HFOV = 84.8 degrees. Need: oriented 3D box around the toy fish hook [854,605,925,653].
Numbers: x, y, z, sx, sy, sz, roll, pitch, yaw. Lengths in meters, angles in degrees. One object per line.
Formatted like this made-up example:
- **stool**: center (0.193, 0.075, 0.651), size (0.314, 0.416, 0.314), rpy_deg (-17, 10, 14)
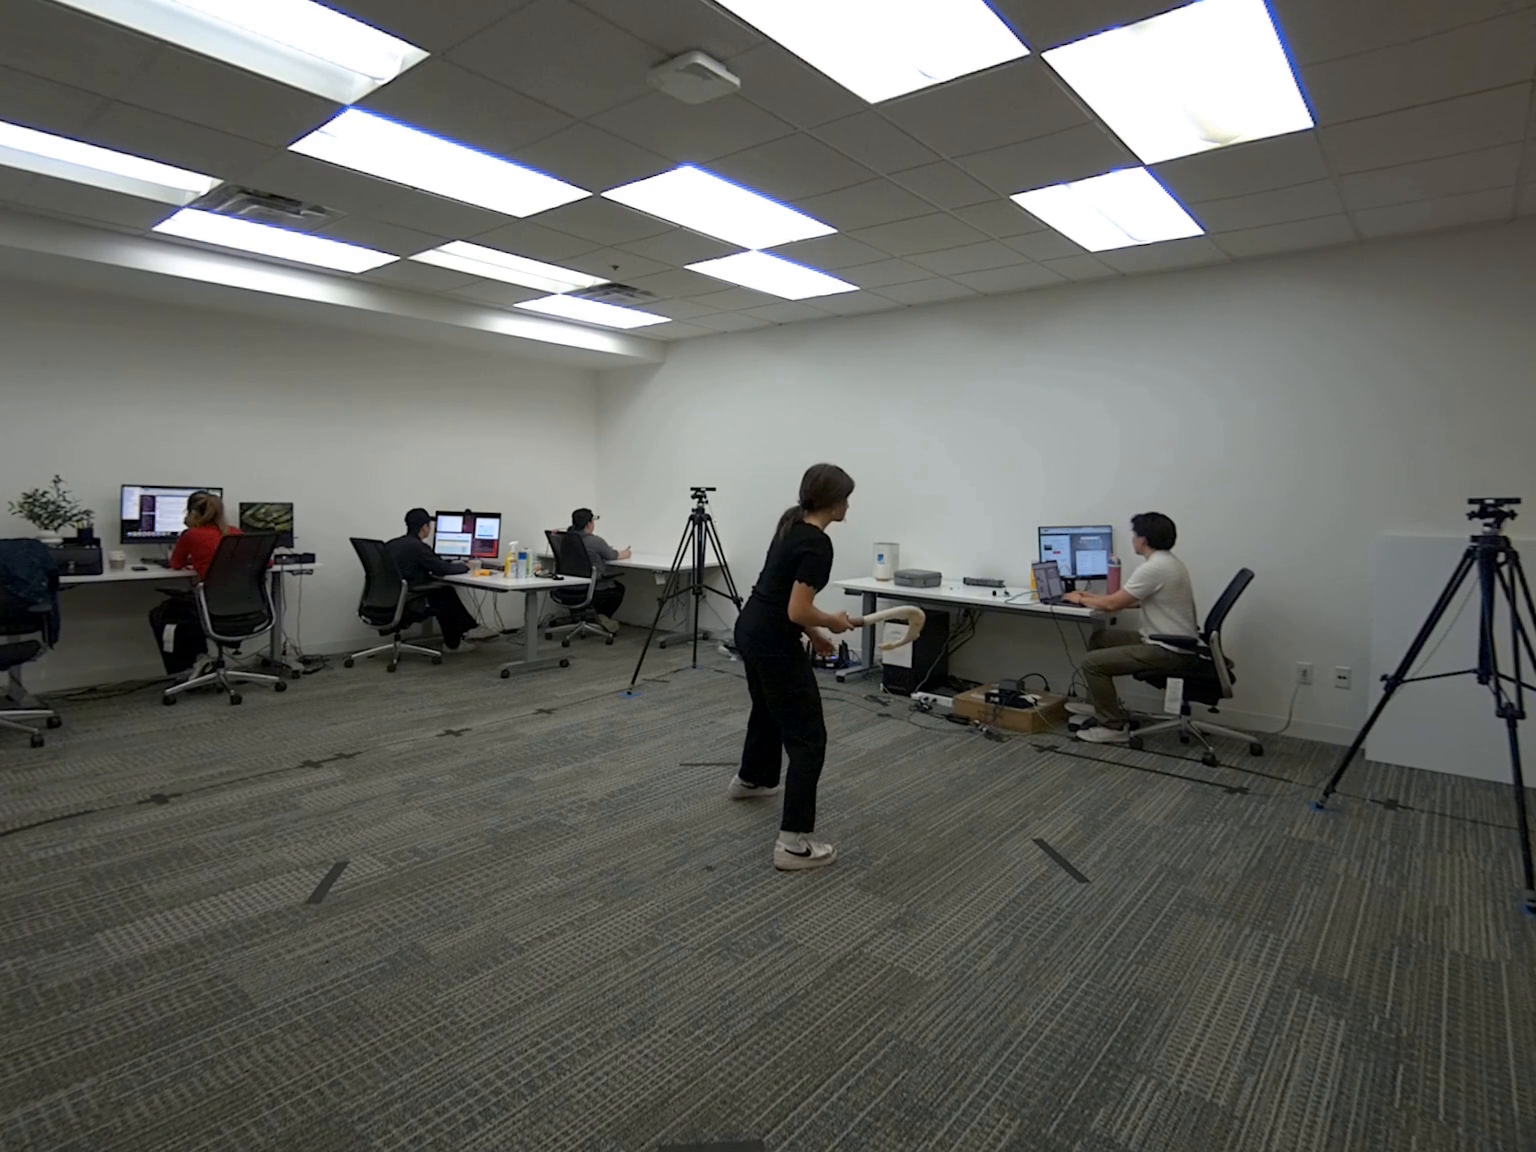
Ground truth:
- **toy fish hook**: center (0.412, 0.231, 3.507), size (0.496, 0.221, 0.050), rpy_deg (0, 26, -22)
